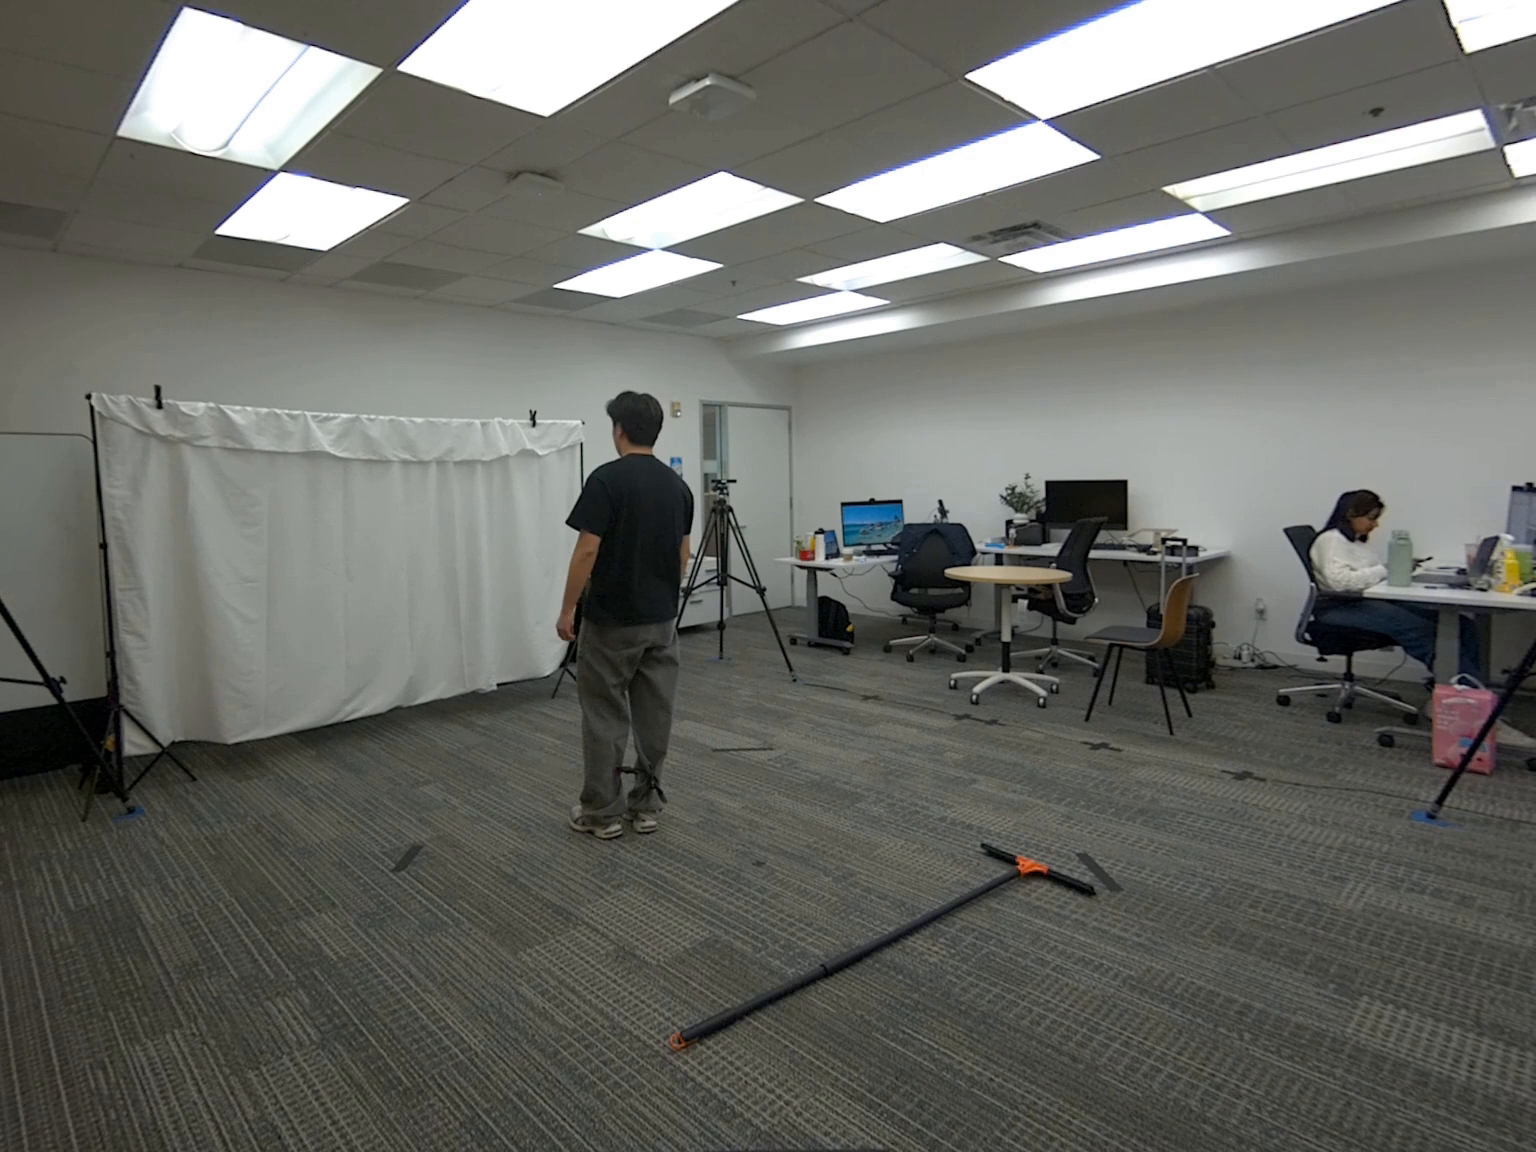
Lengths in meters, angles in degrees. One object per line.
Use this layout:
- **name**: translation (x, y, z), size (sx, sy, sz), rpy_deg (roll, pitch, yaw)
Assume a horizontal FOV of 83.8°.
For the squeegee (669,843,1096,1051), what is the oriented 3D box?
- **squeegee**: translation (0.365, 1.061, 2.553), size (1.499, 0.053, 0.451), rpy_deg (-6, 8, -38)
